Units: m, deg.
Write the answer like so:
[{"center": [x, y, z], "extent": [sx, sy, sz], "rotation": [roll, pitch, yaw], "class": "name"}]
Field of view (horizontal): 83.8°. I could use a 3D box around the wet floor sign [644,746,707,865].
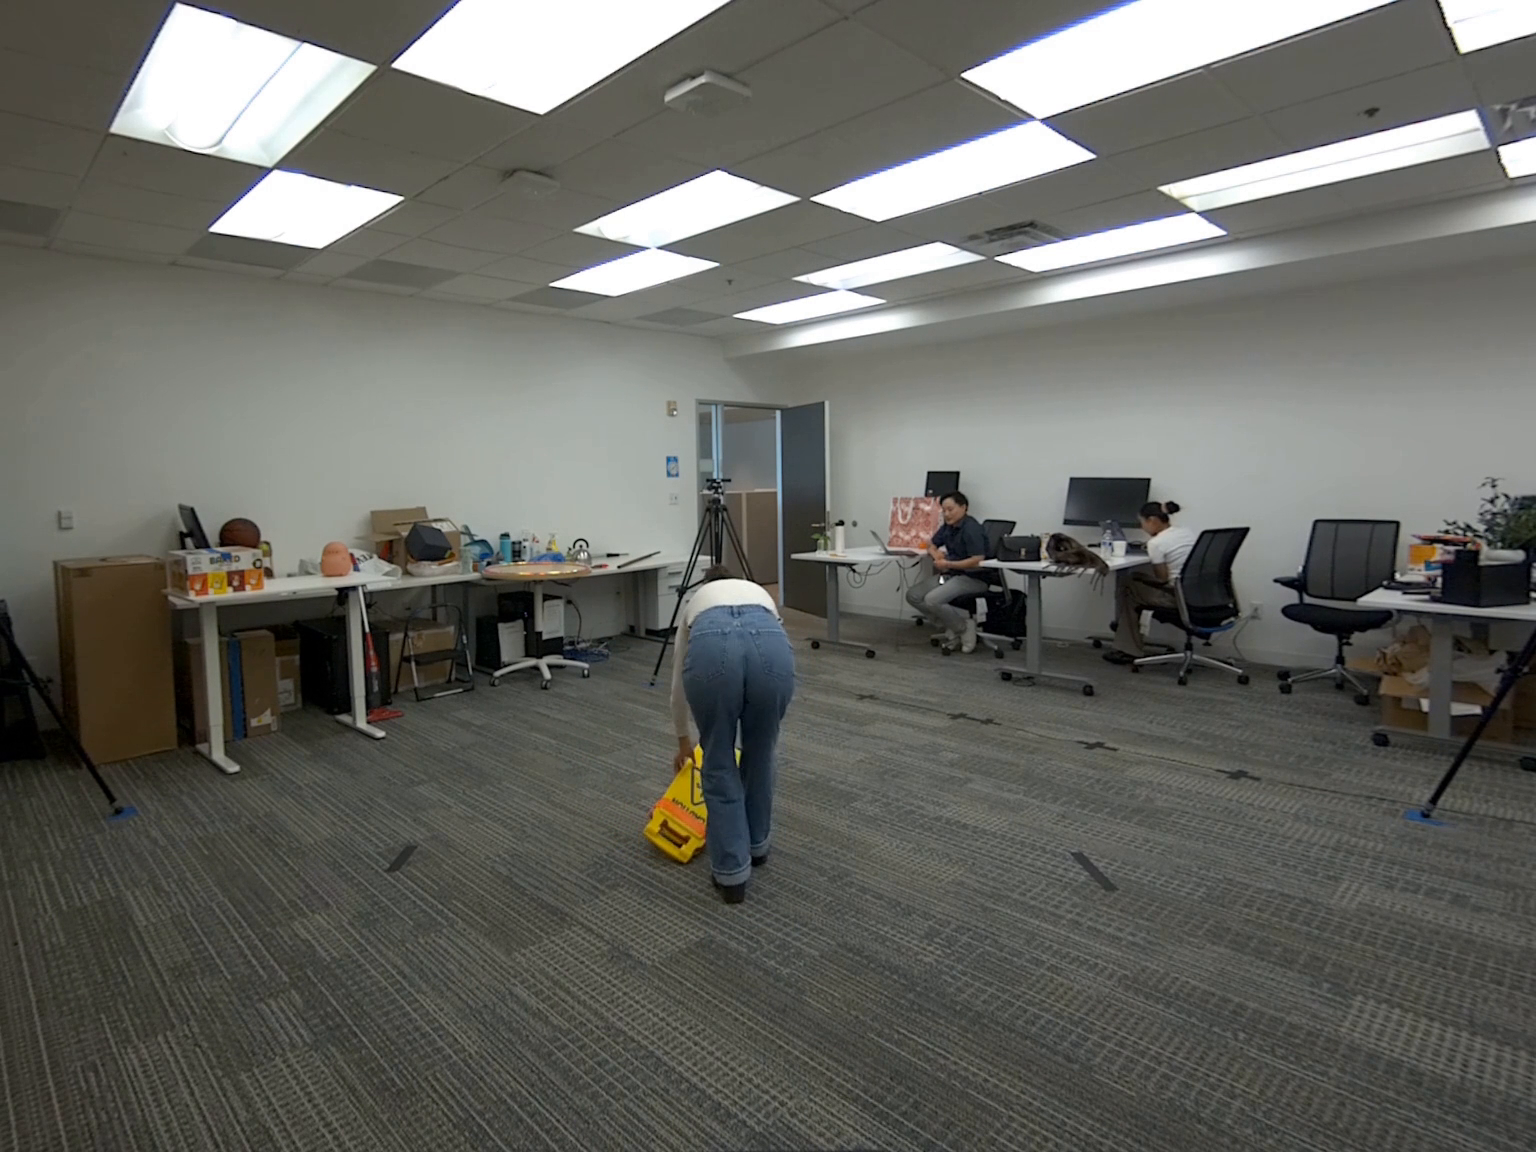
[{"center": [-0.266, 0.891, 3.399], "extent": [0.286, 0.287, 0.643], "rotation": [29, 25, 9], "class": "wet floor sign"}]
